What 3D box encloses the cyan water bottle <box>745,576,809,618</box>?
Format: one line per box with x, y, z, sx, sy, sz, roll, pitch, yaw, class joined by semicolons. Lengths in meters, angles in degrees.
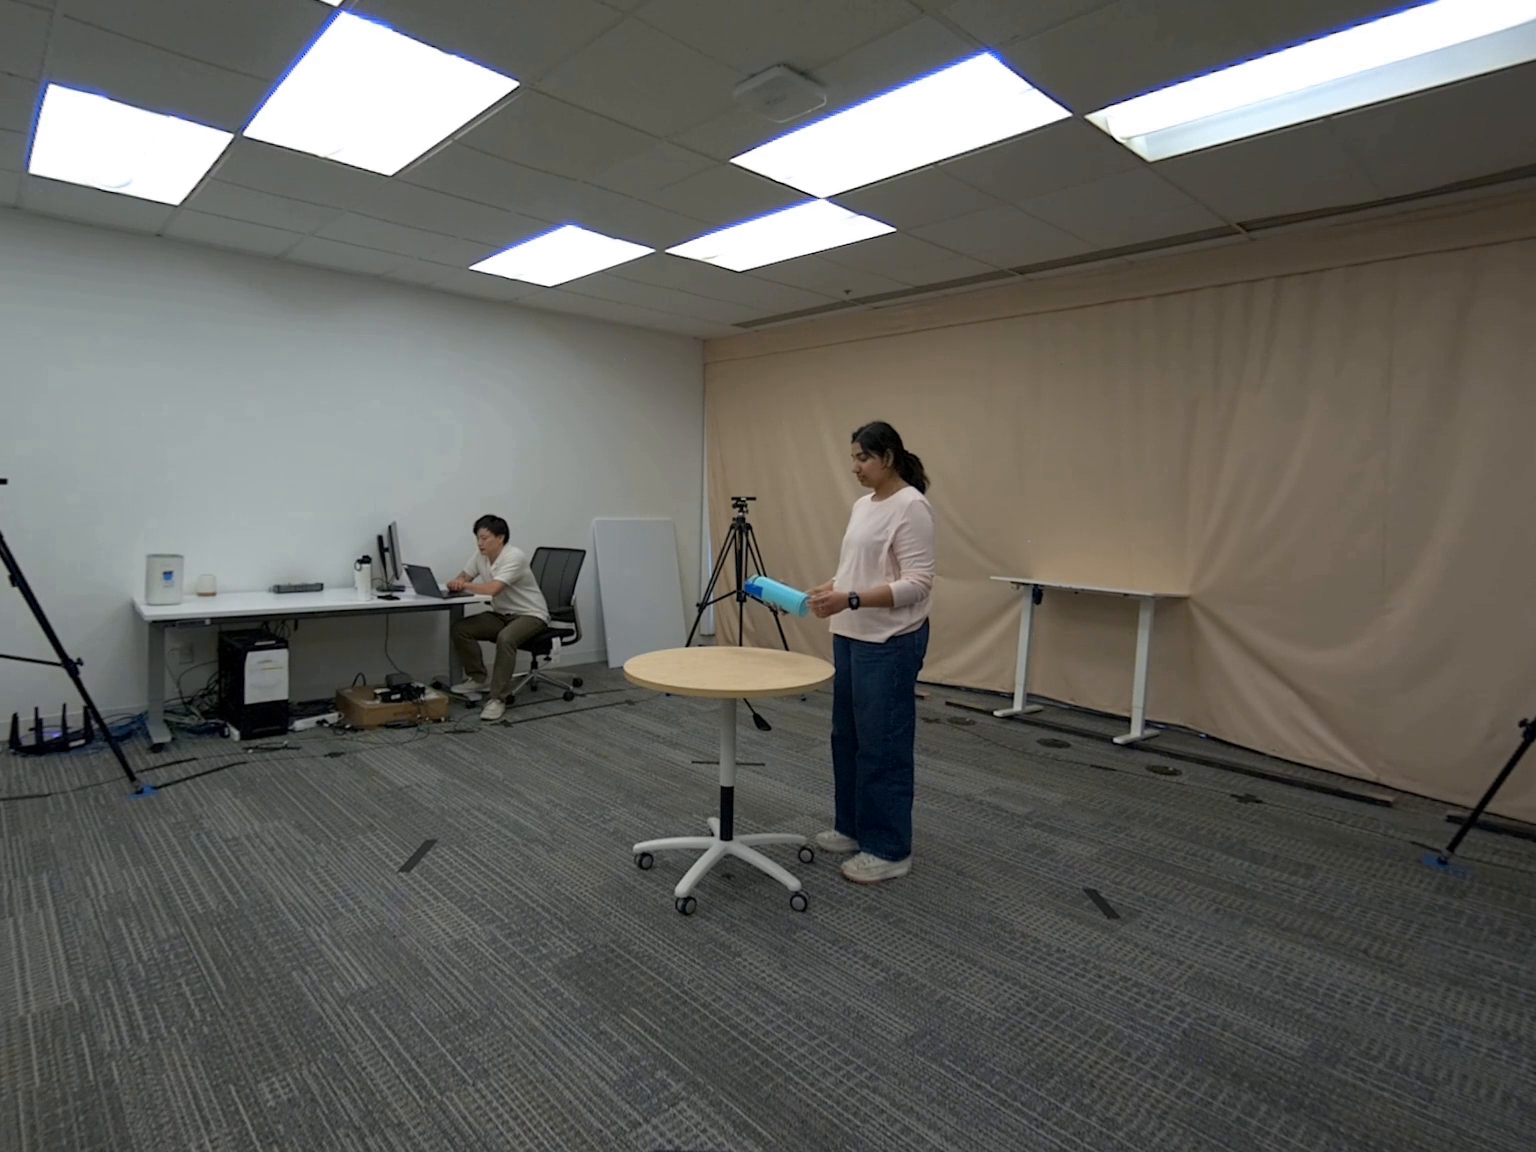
0.024;0.062;3.256;0.291;0.092;0.090;23;15;32;cyan water bottle
